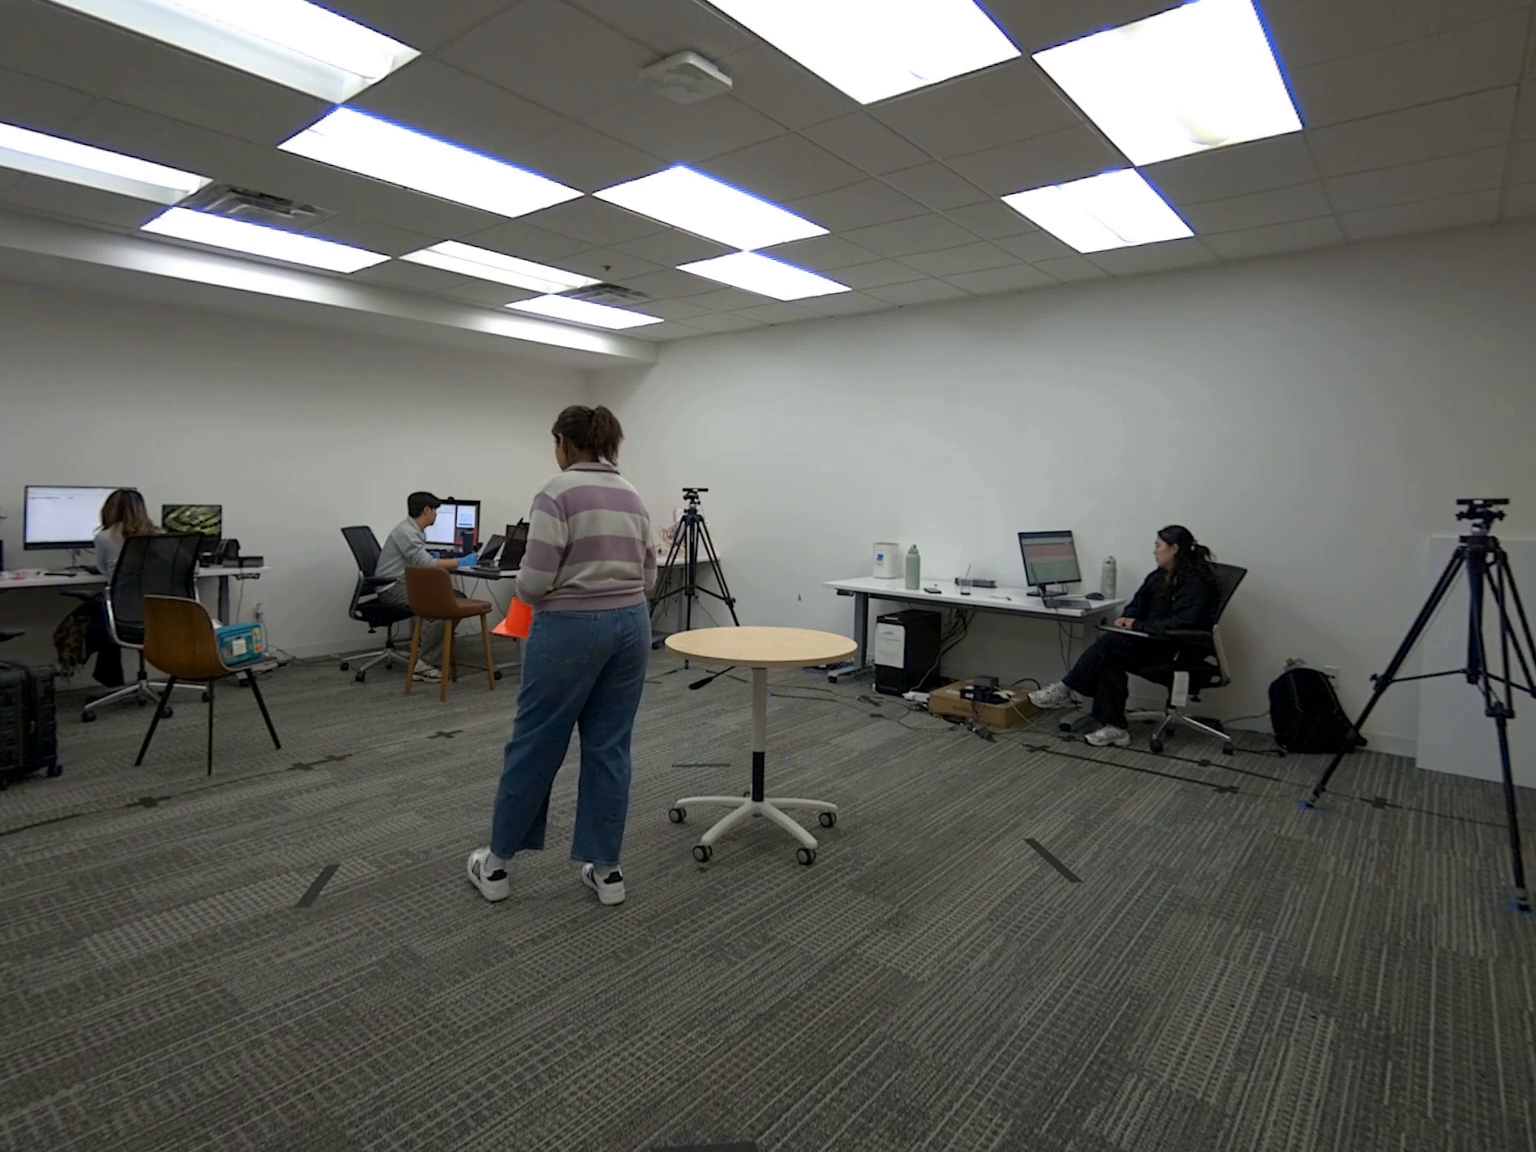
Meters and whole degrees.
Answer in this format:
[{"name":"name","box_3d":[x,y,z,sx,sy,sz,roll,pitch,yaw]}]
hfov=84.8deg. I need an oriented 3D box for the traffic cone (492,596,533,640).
[{"name":"traffic cone","box_3d":[-0.851,0.015,3.041,0.203,0.381,0.206,10,9,-7]}]
